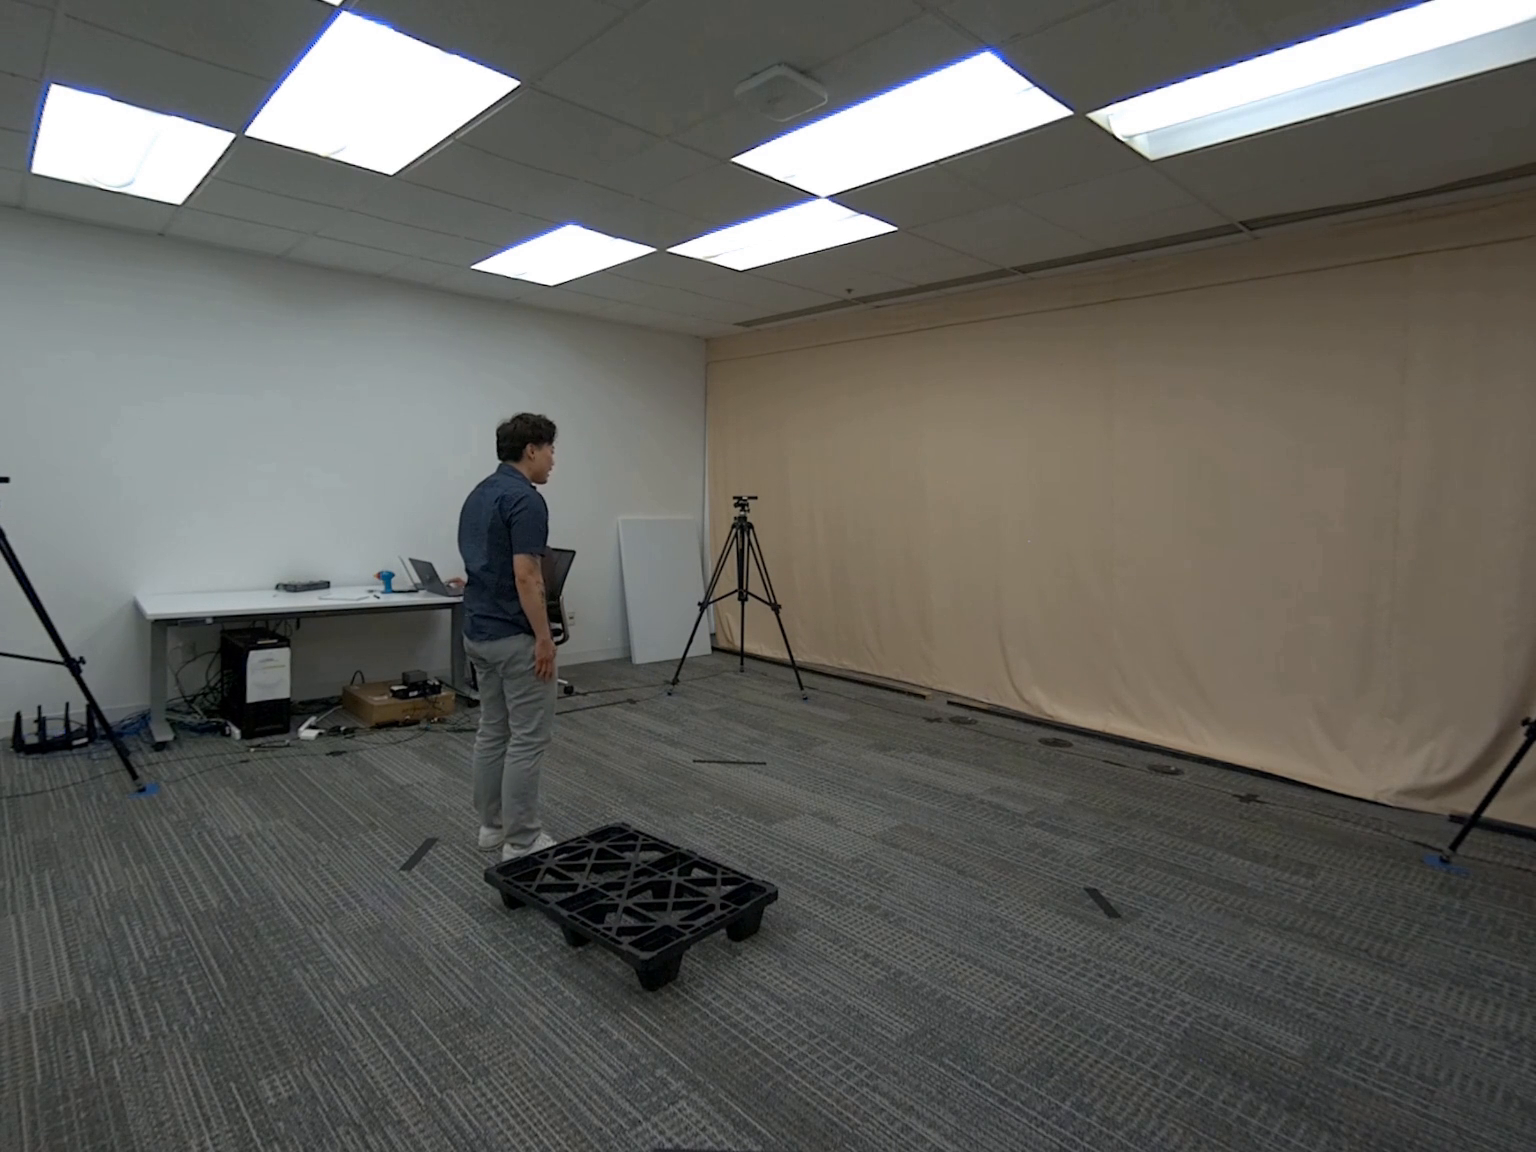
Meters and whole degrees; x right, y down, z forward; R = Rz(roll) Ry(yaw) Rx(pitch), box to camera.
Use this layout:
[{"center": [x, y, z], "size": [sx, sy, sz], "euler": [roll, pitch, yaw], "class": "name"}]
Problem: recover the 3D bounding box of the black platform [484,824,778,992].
[{"center": [-0.460, 1.063, 2.757], "size": [0.826, 0.143, 0.592], "euler": [5, 7, 40], "class": "black platform"}]
